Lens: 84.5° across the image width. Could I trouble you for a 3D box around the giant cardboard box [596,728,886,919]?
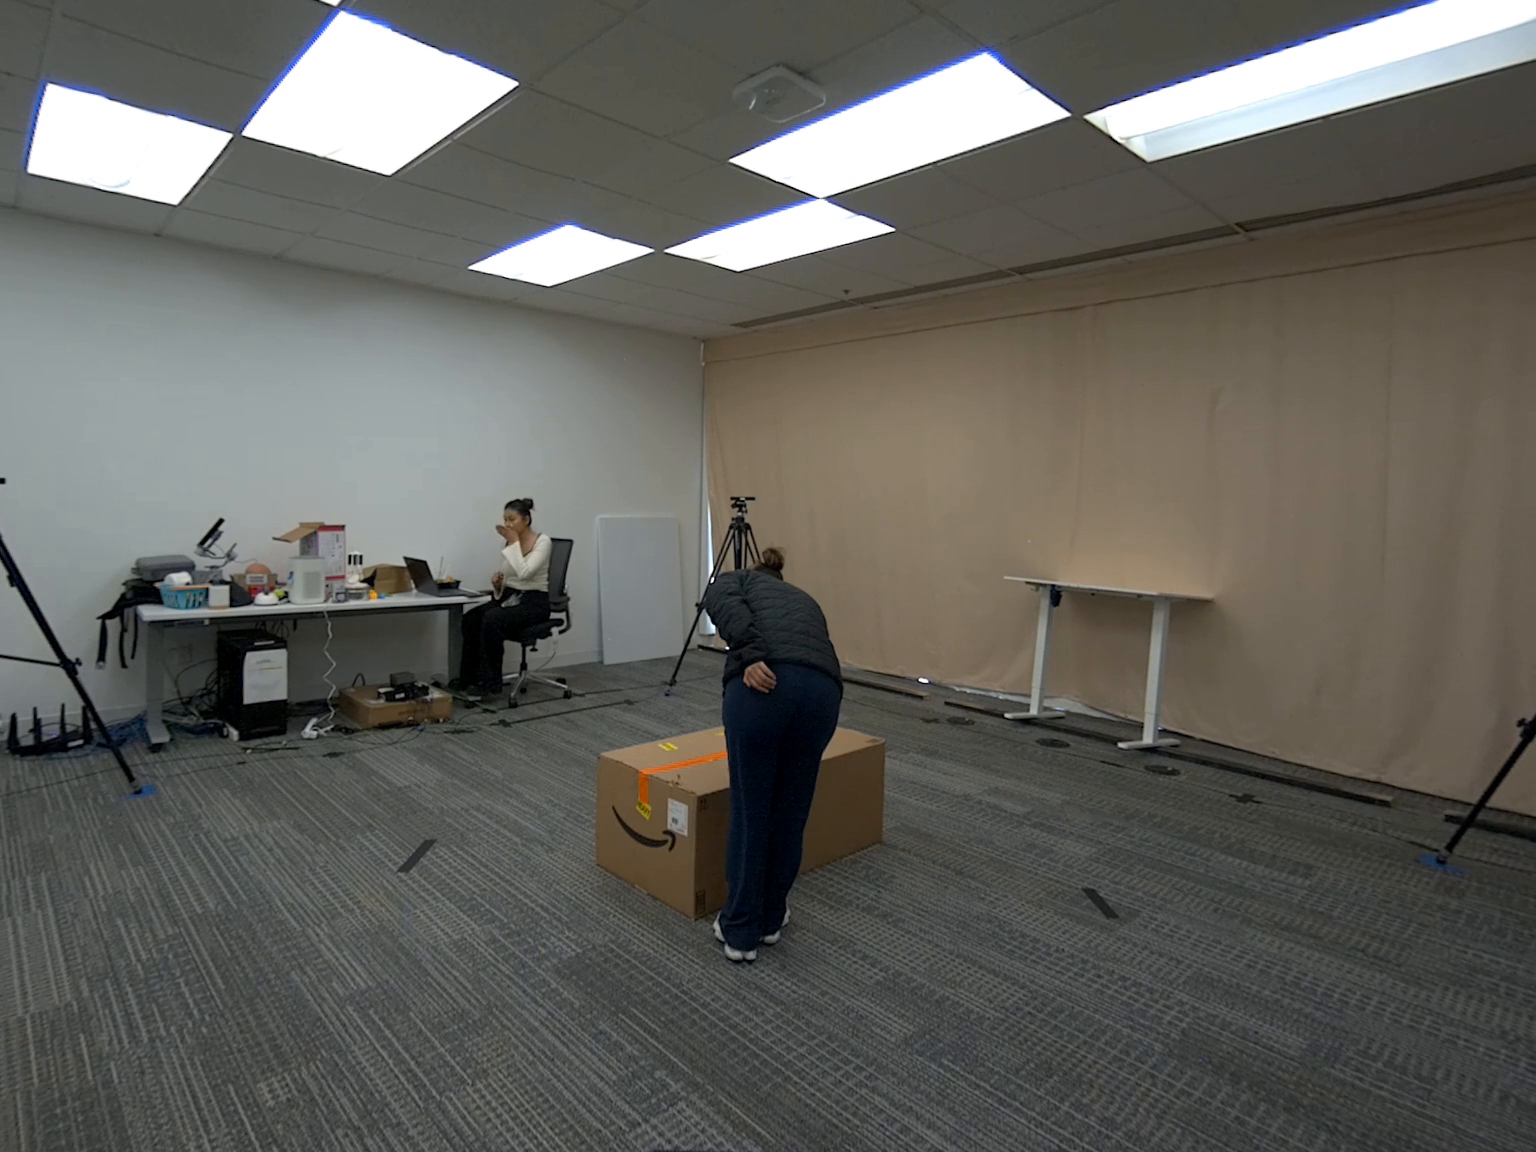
[{"bbox_3d":[-0.089,0.883,3.295,1.003,0.445,0.599,-3,7,-44],"label":"giant cardboard box"}]
